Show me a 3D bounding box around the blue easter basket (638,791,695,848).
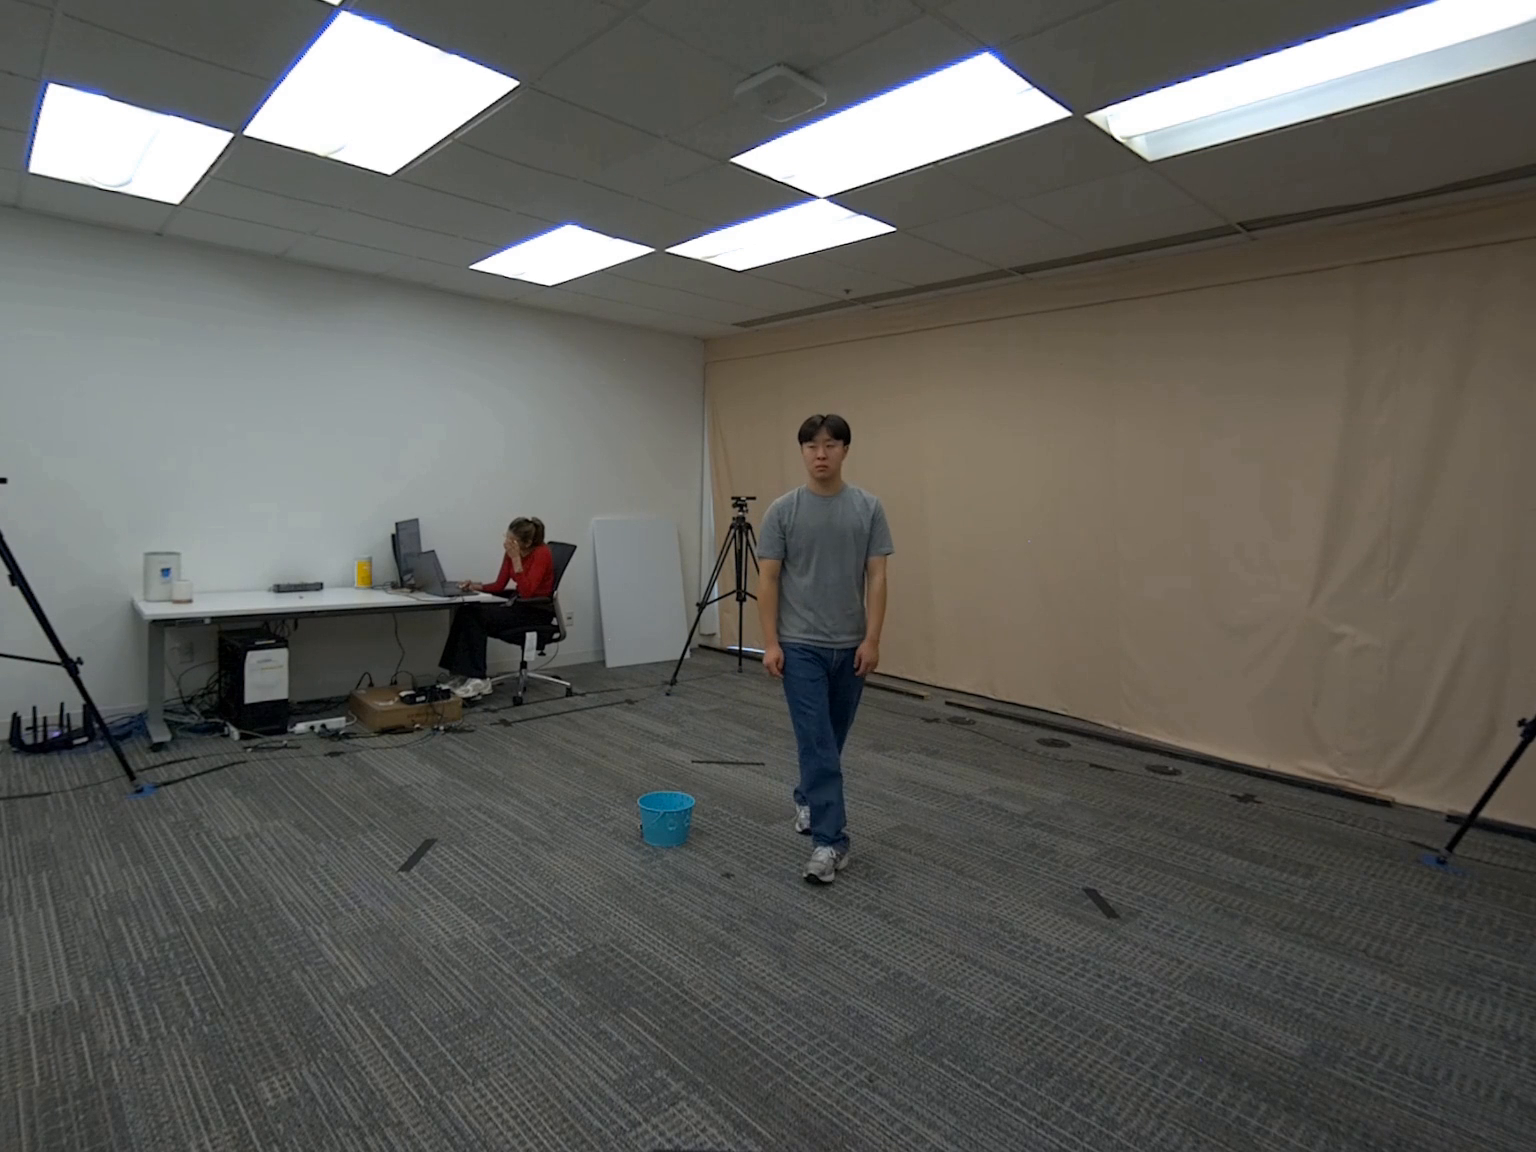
[{"bbox_3d":[-0.429,0.990,3.440,0.243,0.155,0.244,2,5,-2],"label":"blue easter basket"}]
